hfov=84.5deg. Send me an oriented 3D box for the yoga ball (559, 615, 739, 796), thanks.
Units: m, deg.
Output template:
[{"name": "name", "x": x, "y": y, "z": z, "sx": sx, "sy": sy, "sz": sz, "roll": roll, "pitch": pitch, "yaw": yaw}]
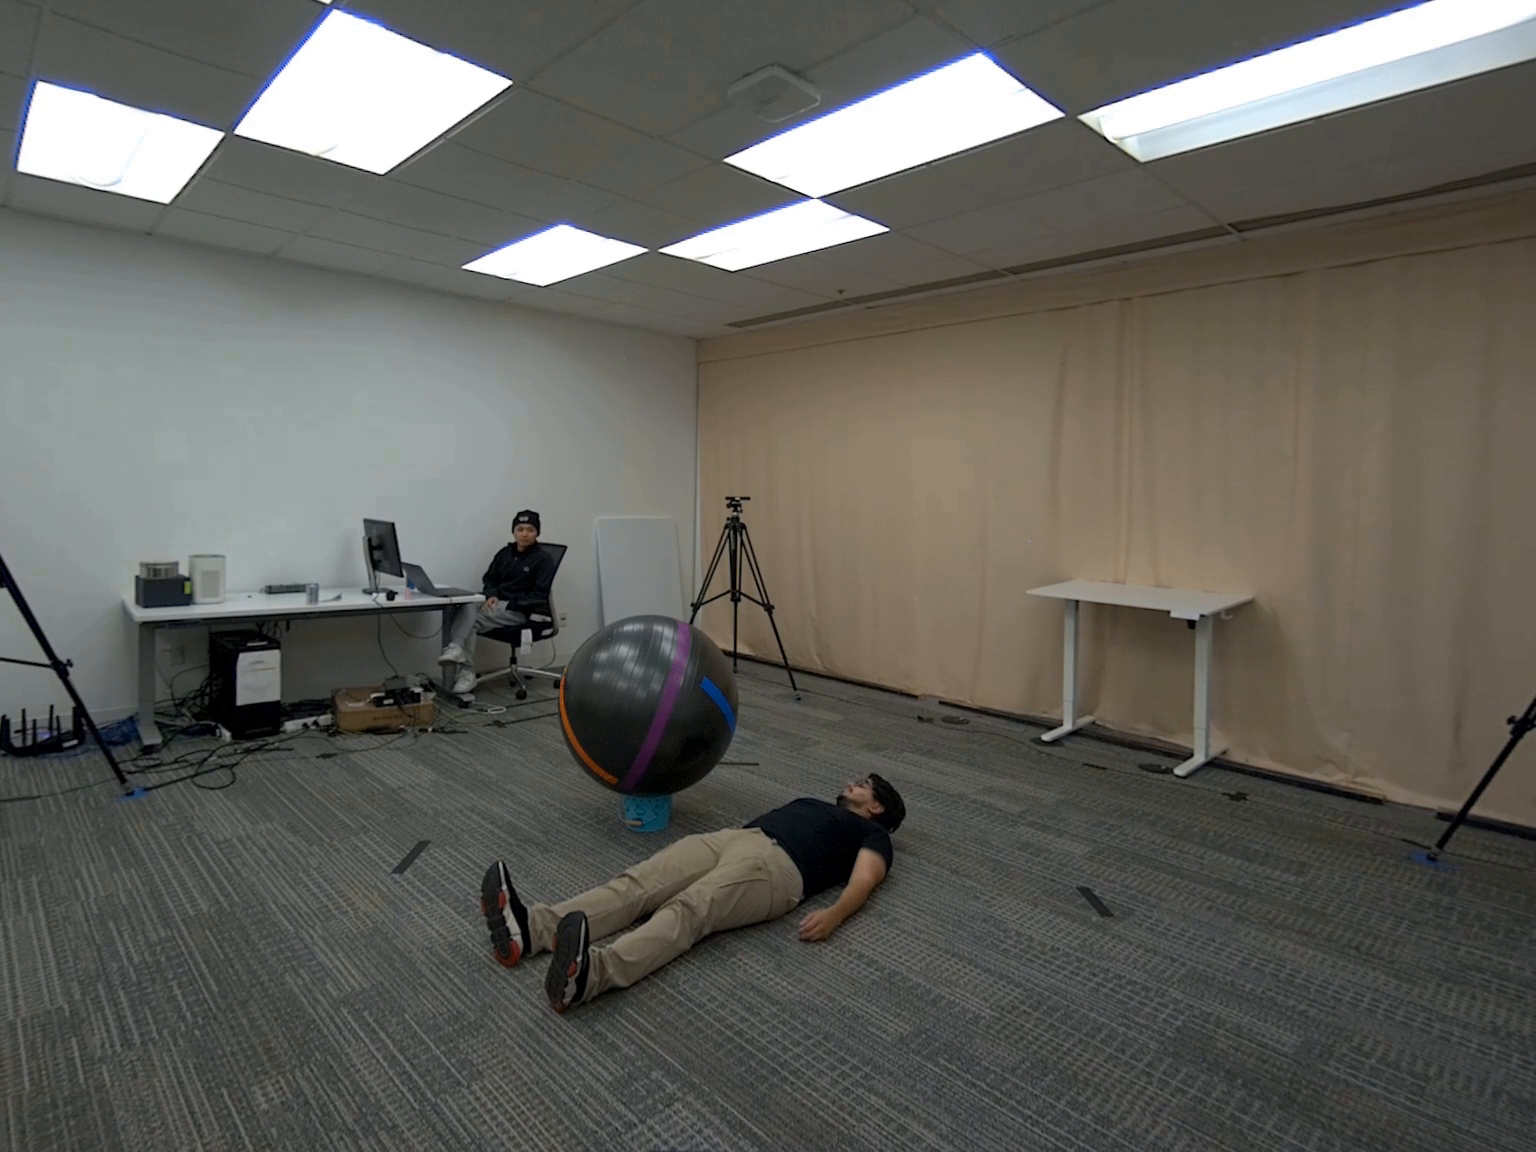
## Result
[{"name": "yoga ball", "x": -0.509, "y": 0.546, "z": 3.568, "sx": 0.757, "sy": 0.755, "sz": 0.761, "roll": 1, "pitch": 5, "yaw": -1}]
